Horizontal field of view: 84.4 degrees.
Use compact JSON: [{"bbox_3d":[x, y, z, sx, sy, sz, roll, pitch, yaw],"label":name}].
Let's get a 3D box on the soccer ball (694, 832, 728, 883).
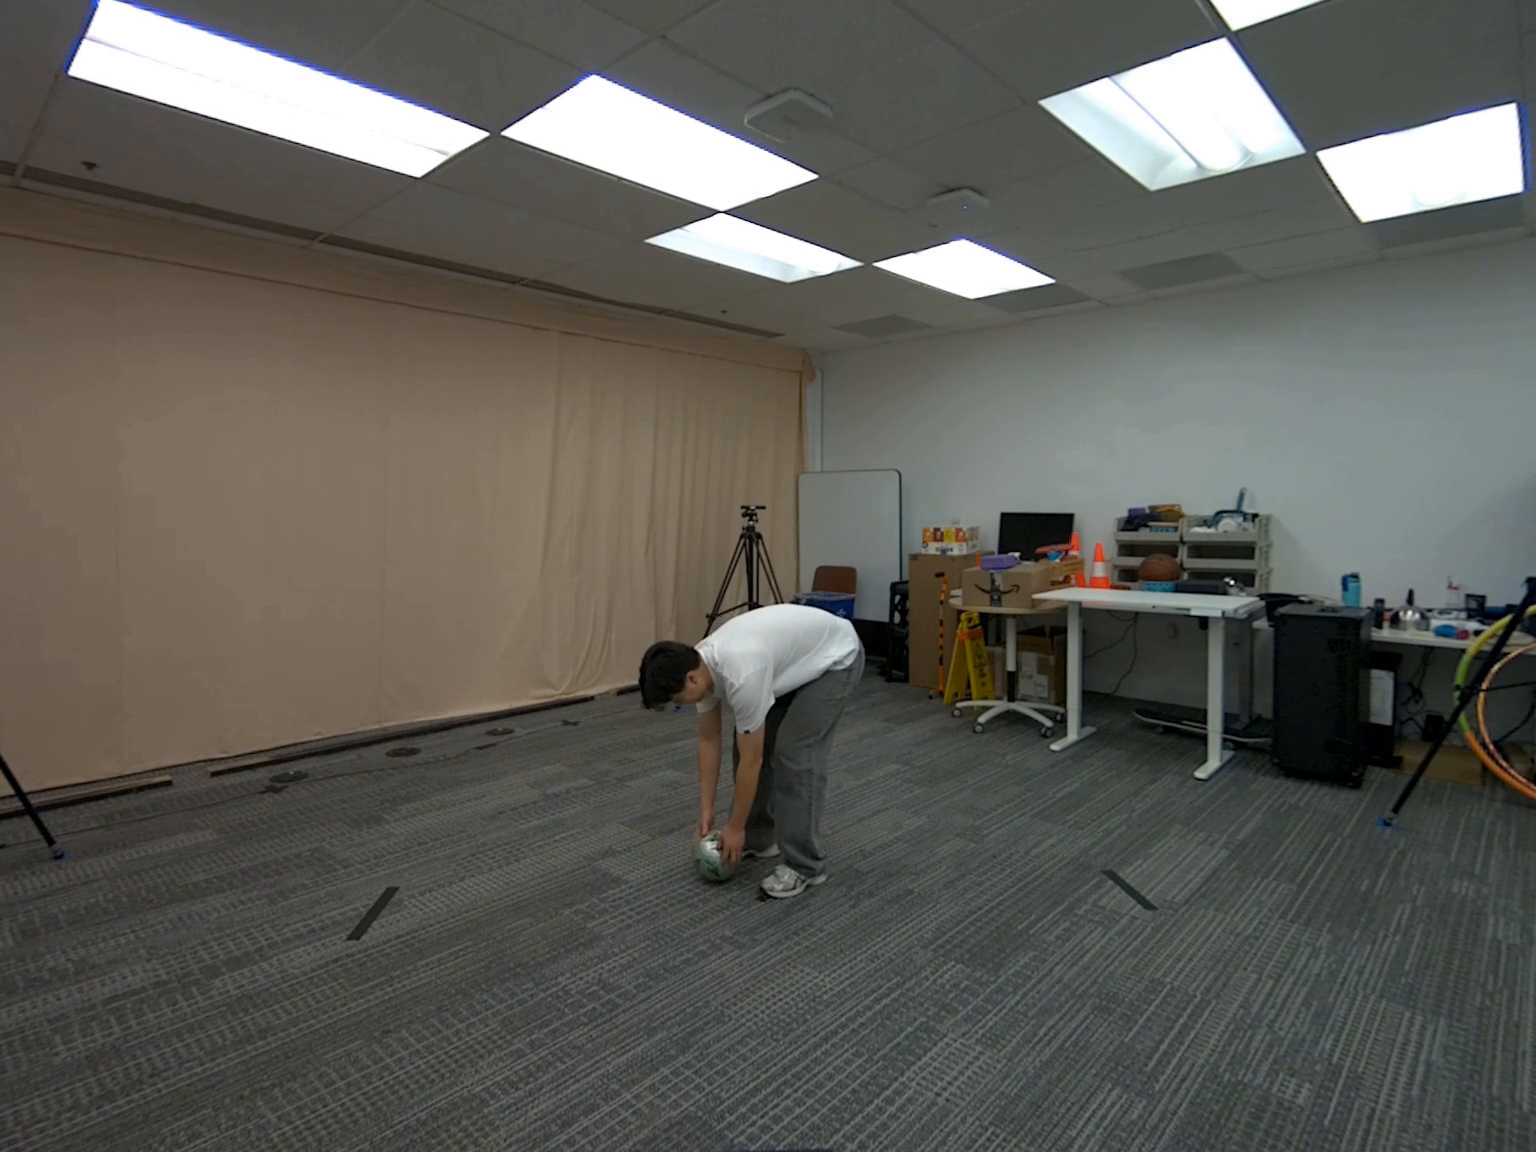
[{"bbox_3d":[-0.181,1.018,3.135,0.187,0.187,0.188,0,4,-2],"label":"soccer ball"}]
